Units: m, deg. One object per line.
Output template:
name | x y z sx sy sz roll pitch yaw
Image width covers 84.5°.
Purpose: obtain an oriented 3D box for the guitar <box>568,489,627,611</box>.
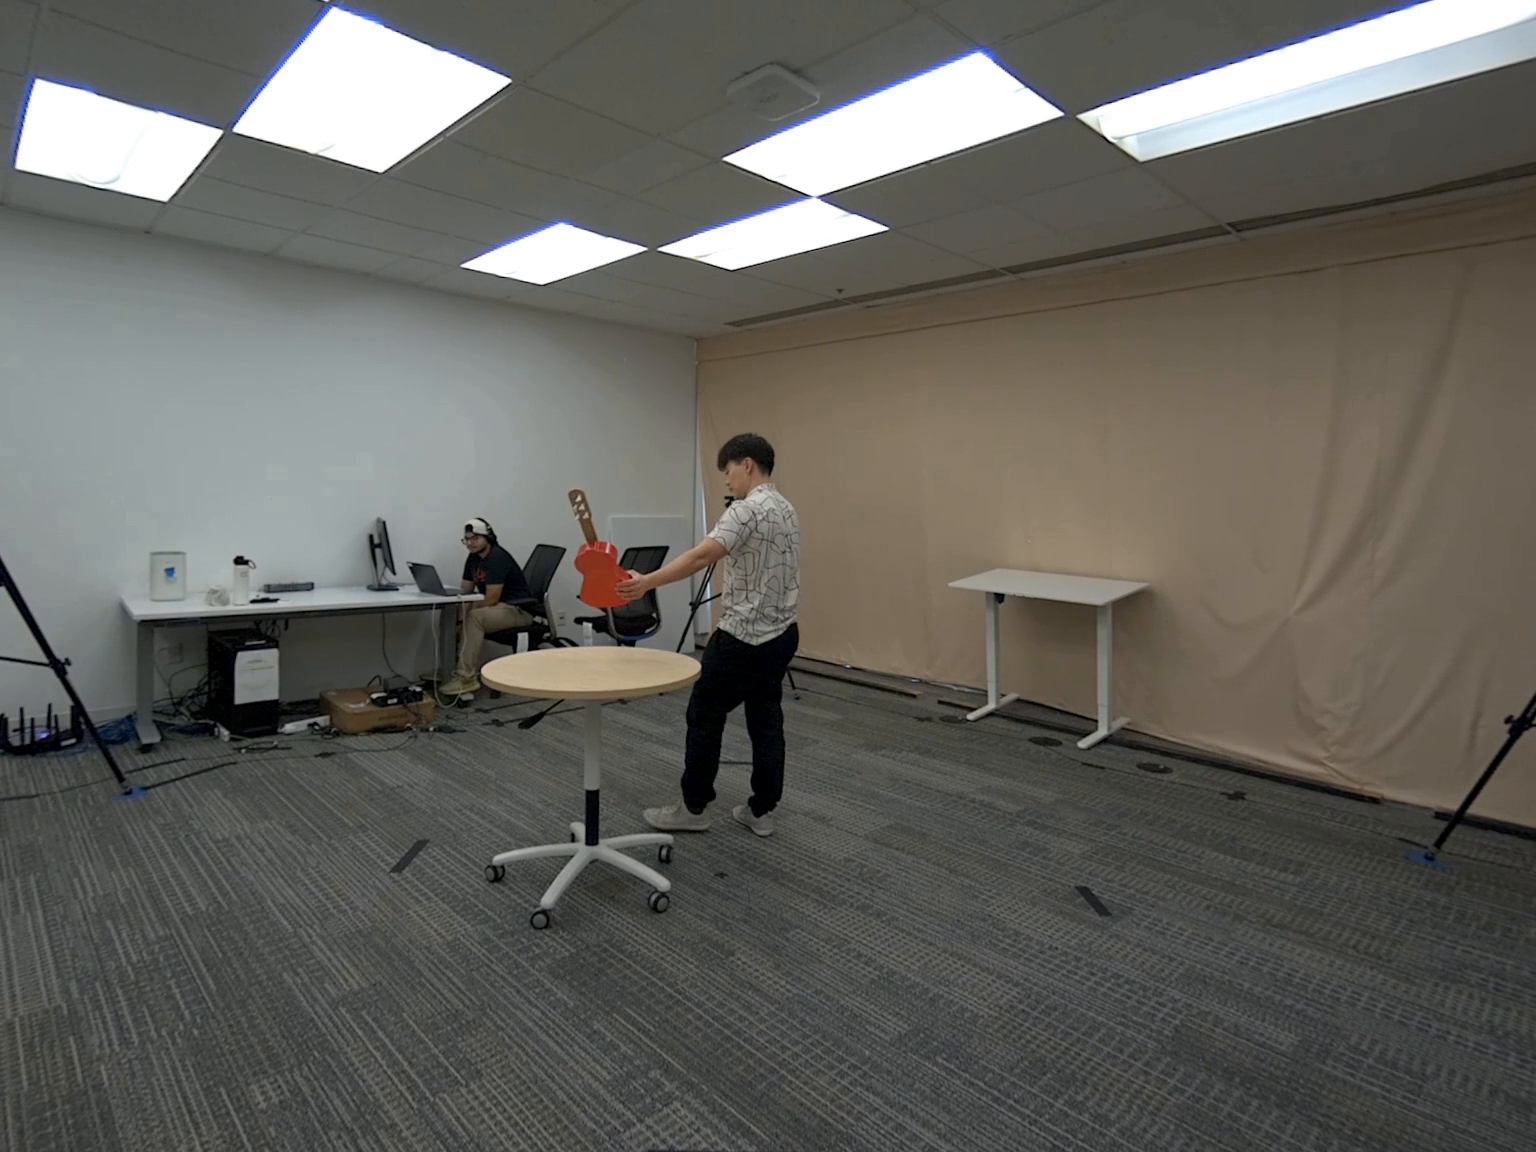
guitar | -0.654 -0.086 2.960 0.194 0.483 0.072 -14 39 12
